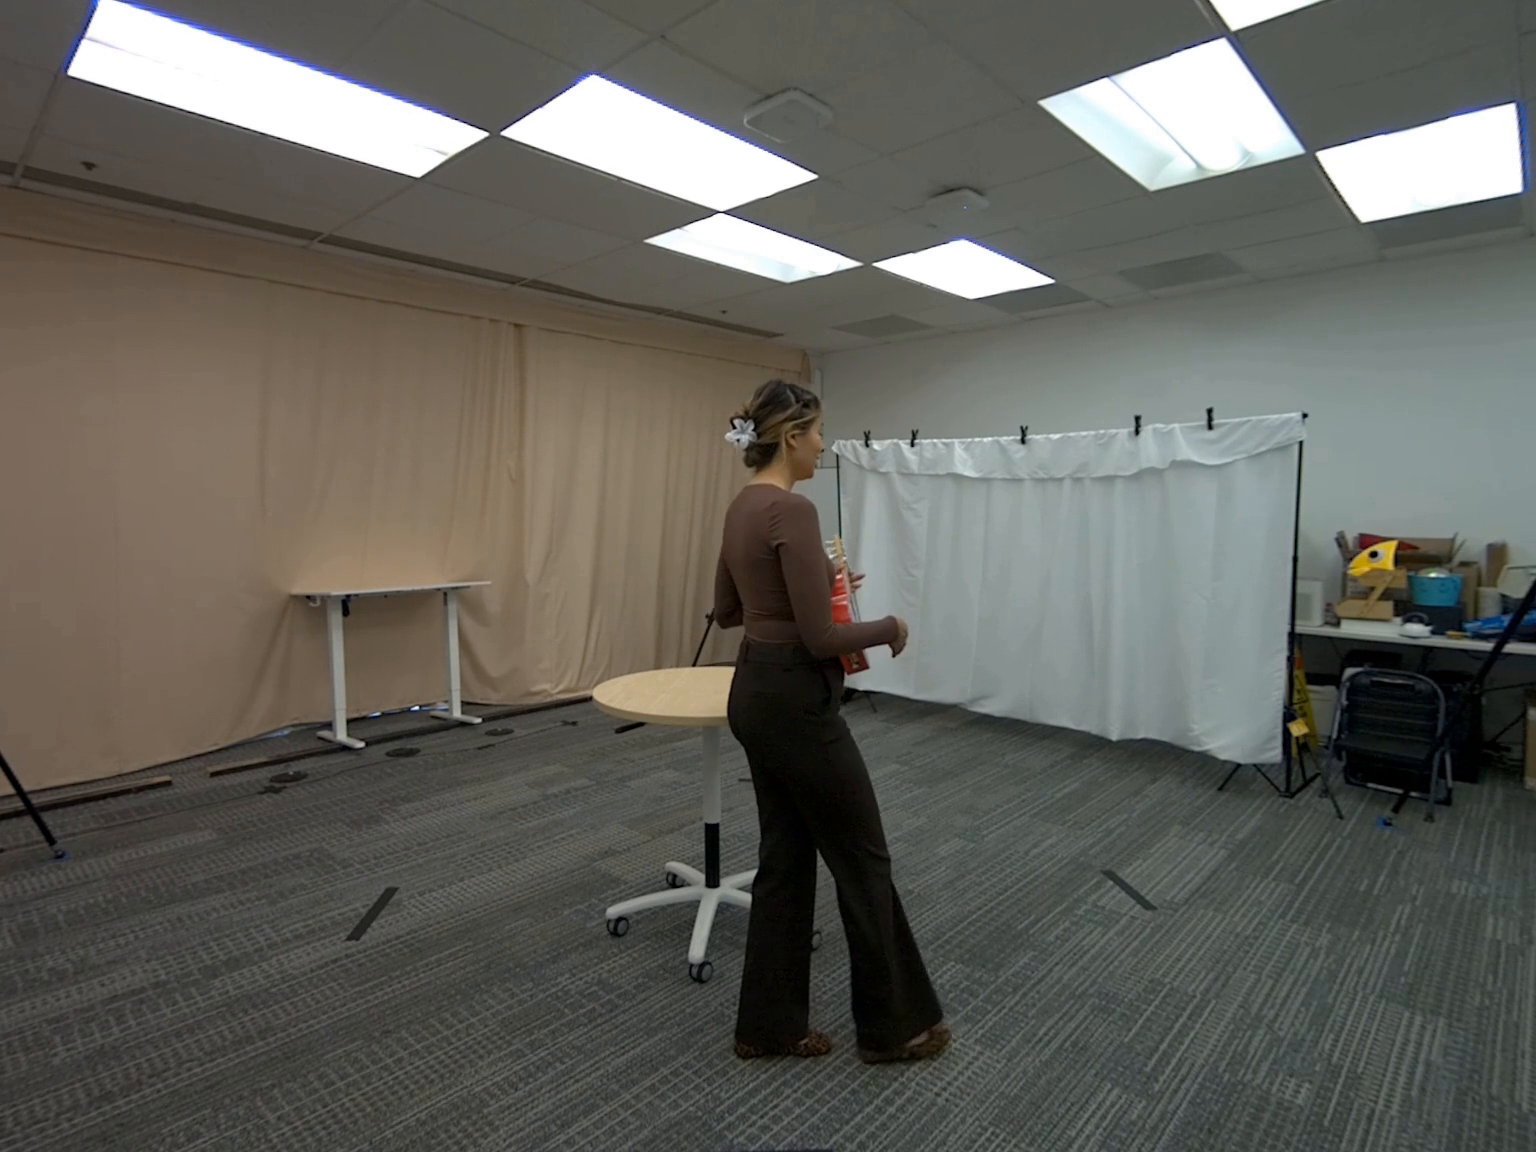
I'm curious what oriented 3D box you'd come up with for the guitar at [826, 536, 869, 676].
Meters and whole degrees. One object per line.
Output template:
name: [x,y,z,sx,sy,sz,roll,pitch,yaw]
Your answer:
guitar: [0.211,0.070,2.243,0.071,0.189,0.503,-18,24,10]
